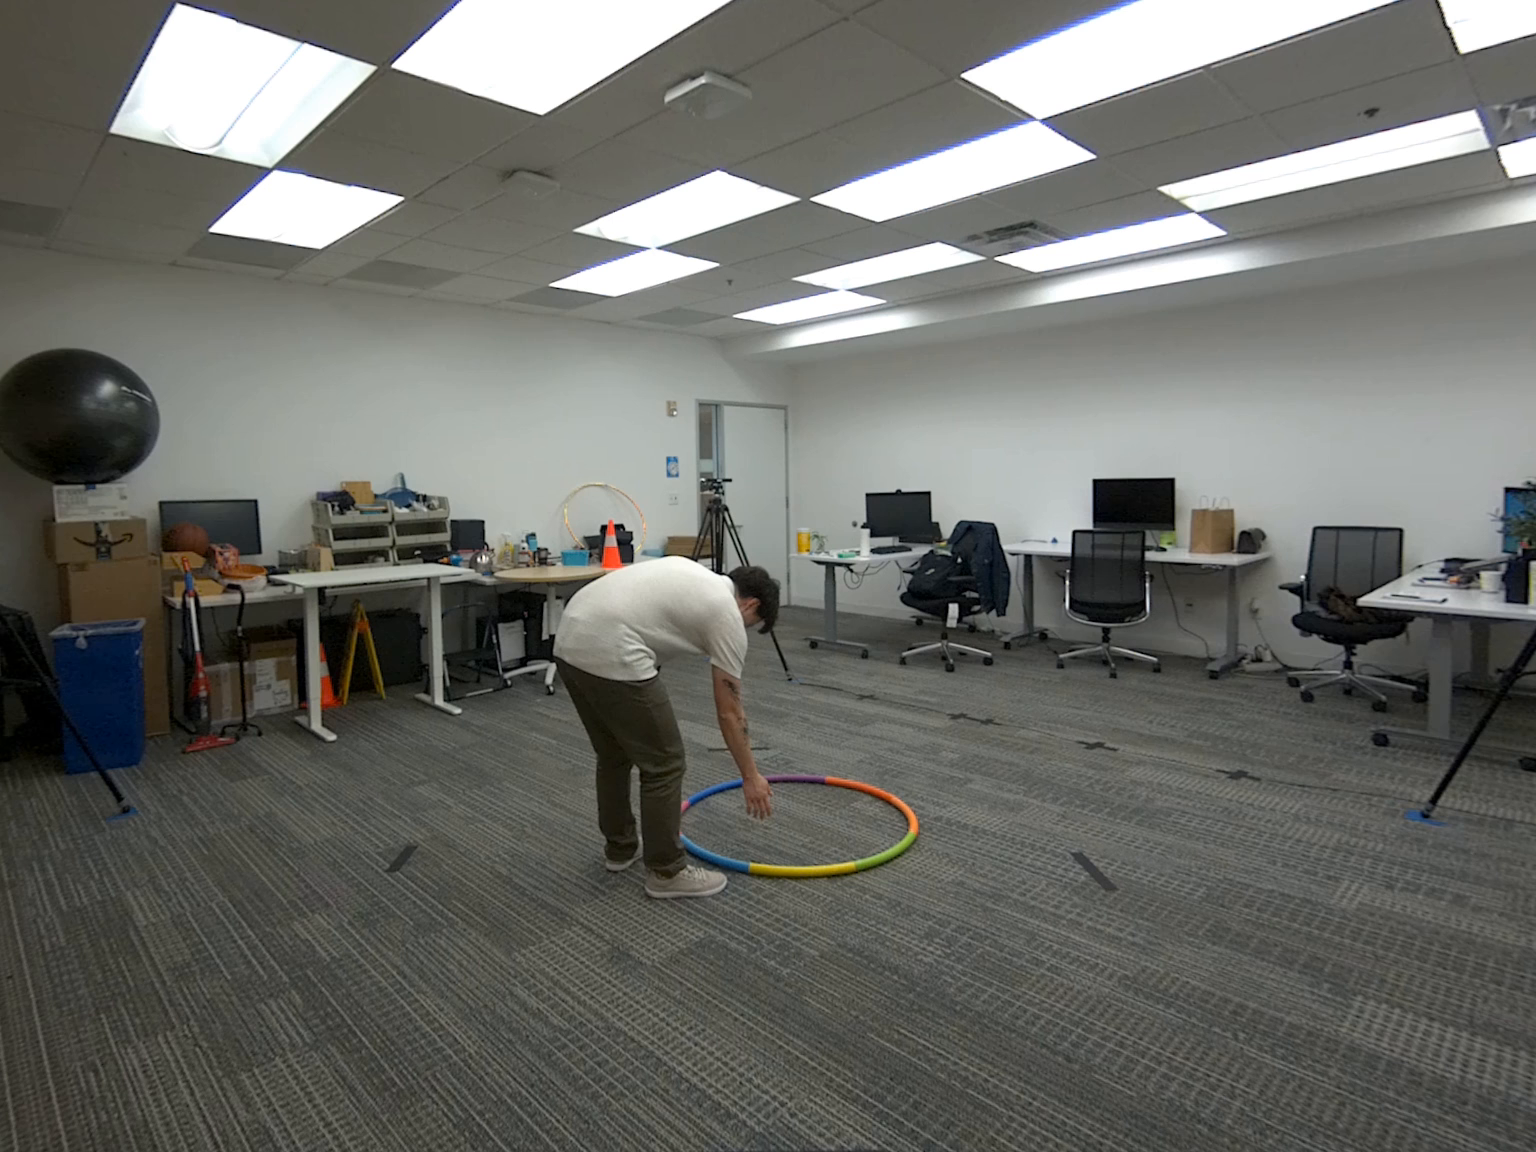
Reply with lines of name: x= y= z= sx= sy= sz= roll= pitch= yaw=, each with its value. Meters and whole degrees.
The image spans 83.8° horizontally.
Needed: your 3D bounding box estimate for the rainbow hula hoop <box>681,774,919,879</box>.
rainbow hula hoop: x=0.098 y=0.969 z=3.457 sx=0.978 sy=0.035 sz=0.984 roll=-1 pitch=6 yaw=-2
